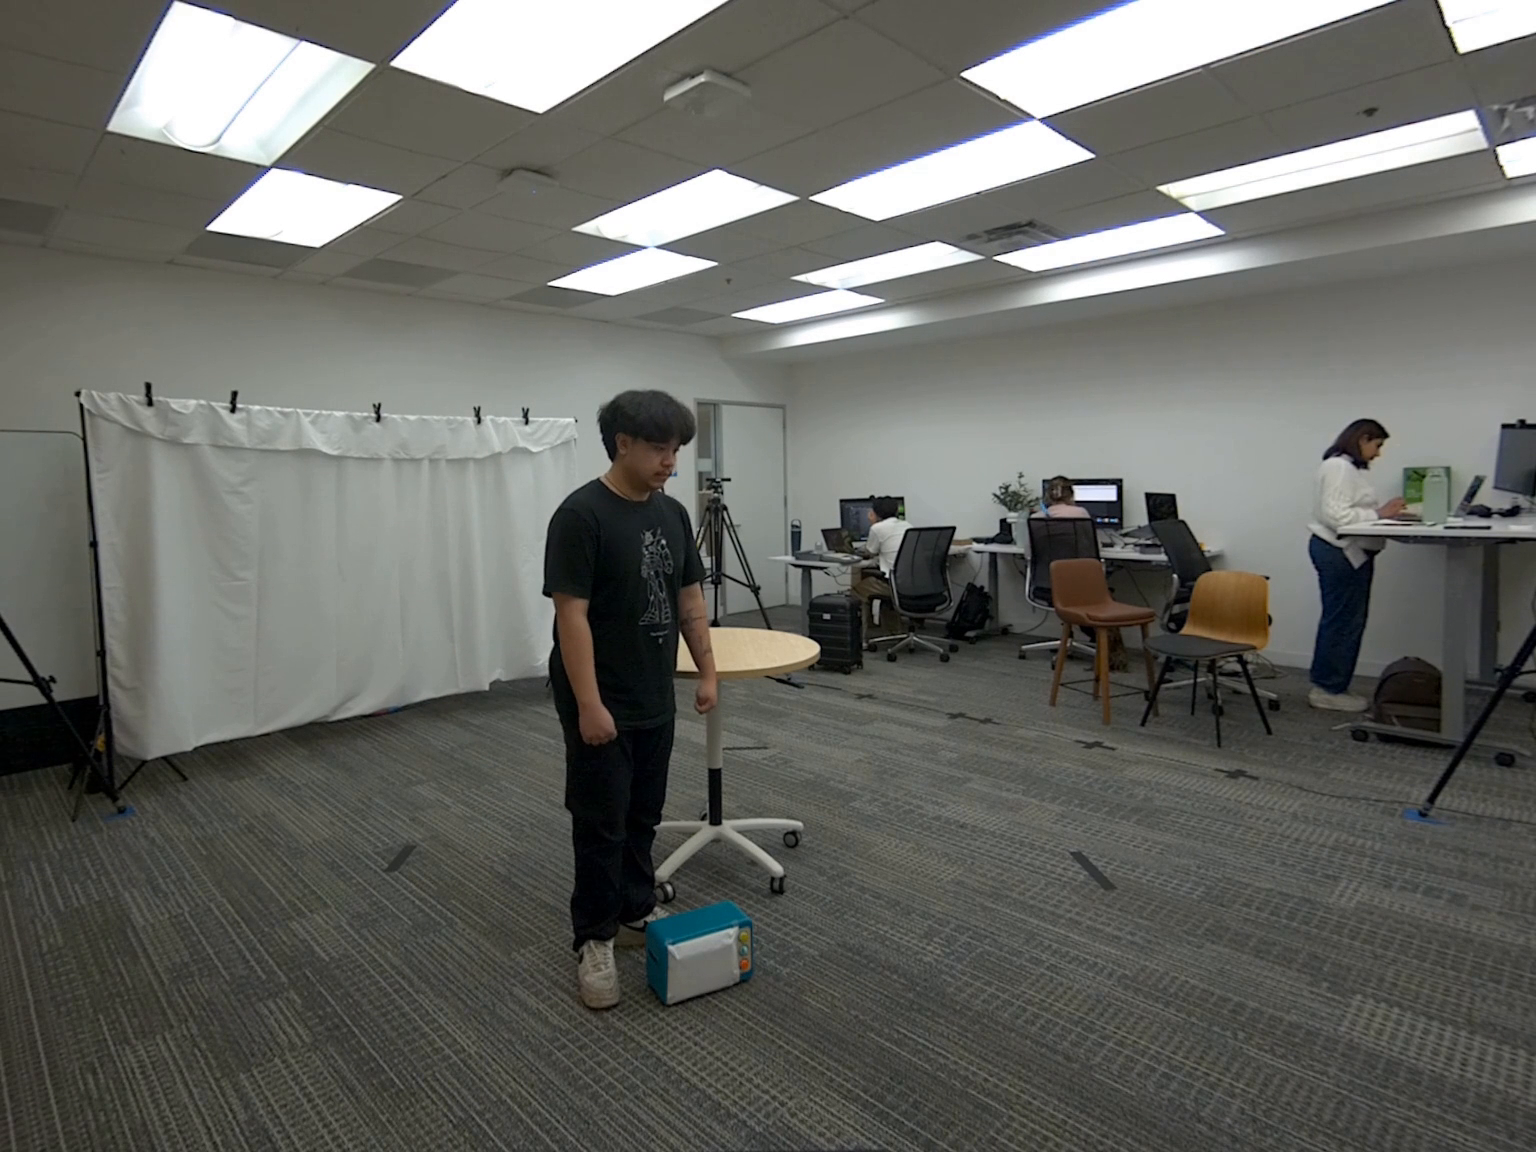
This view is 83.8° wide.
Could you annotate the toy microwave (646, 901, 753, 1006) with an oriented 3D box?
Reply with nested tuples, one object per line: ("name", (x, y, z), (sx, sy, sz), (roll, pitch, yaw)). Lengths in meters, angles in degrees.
("toy microwave", (-0.188, 1.029, 2.383), (0.280, 0.183, 0.156), (-3, 6, -26))
